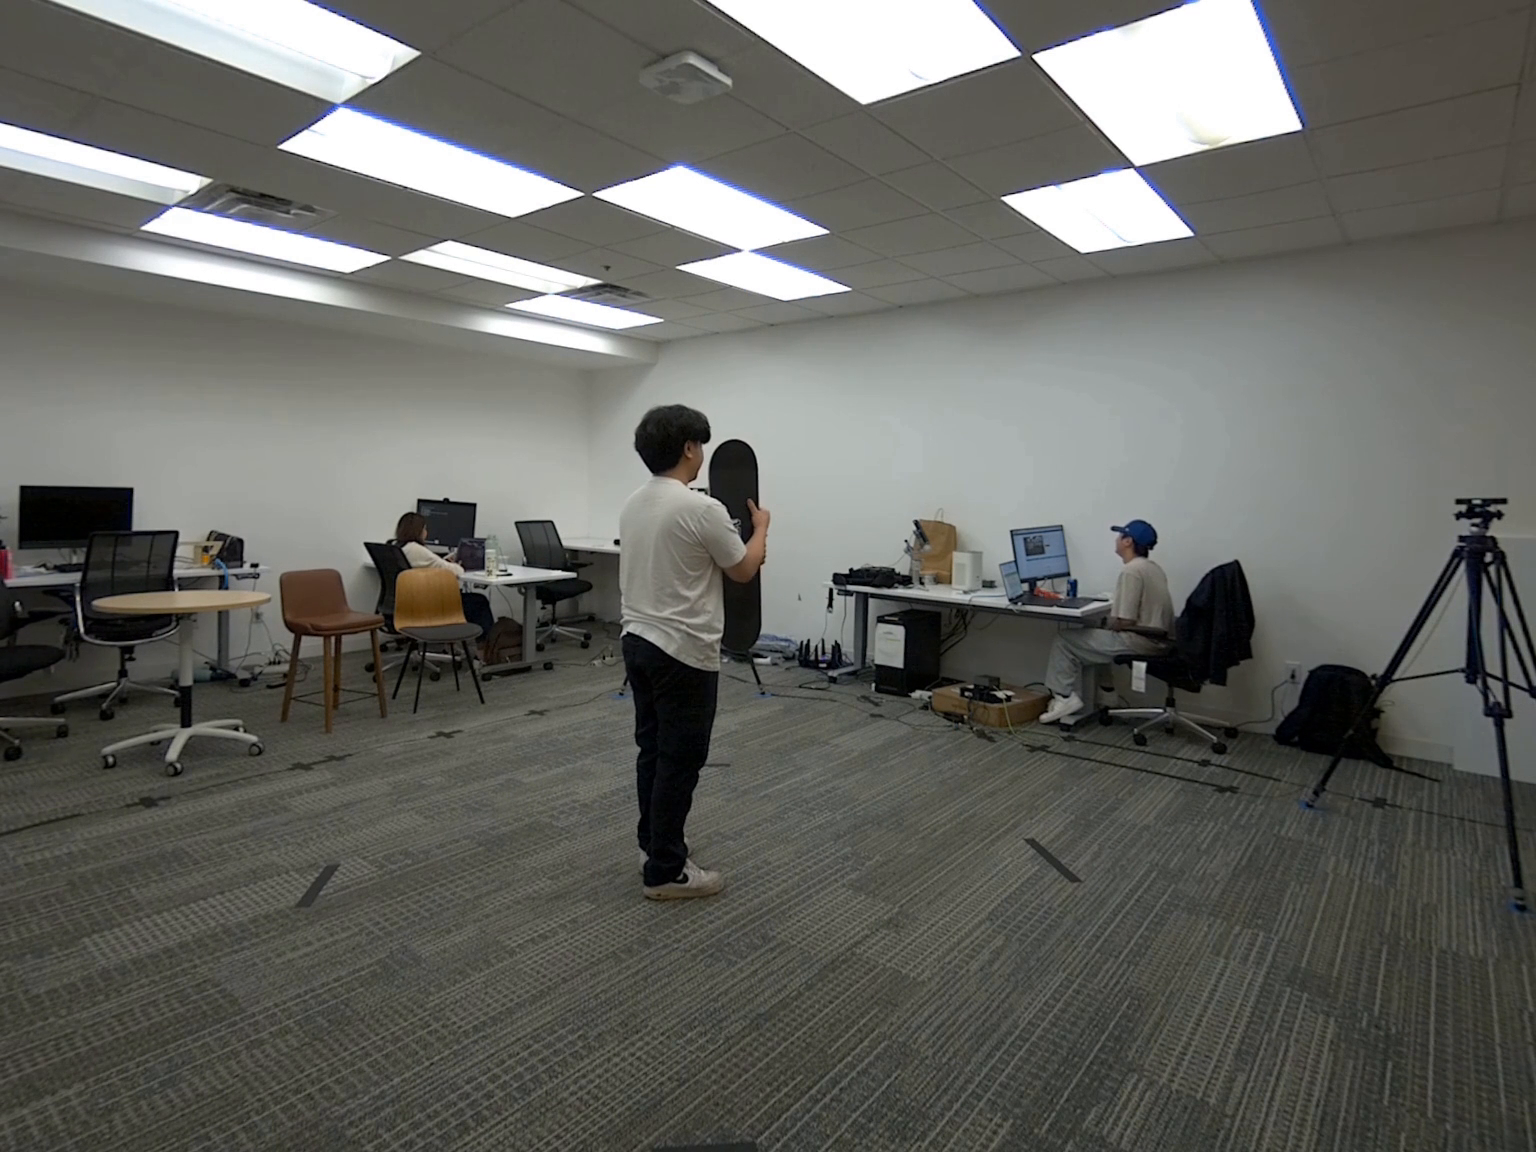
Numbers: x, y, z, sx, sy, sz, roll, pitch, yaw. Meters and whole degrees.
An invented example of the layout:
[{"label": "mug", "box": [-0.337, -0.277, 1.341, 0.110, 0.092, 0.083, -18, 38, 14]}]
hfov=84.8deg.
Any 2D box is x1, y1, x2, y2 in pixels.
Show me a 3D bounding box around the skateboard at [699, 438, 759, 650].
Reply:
[{"label": "skateboard", "box": [-0.151, -0.125, 3.189, 0.189, 0.782, 0.113, -2, 5, -21]}]
